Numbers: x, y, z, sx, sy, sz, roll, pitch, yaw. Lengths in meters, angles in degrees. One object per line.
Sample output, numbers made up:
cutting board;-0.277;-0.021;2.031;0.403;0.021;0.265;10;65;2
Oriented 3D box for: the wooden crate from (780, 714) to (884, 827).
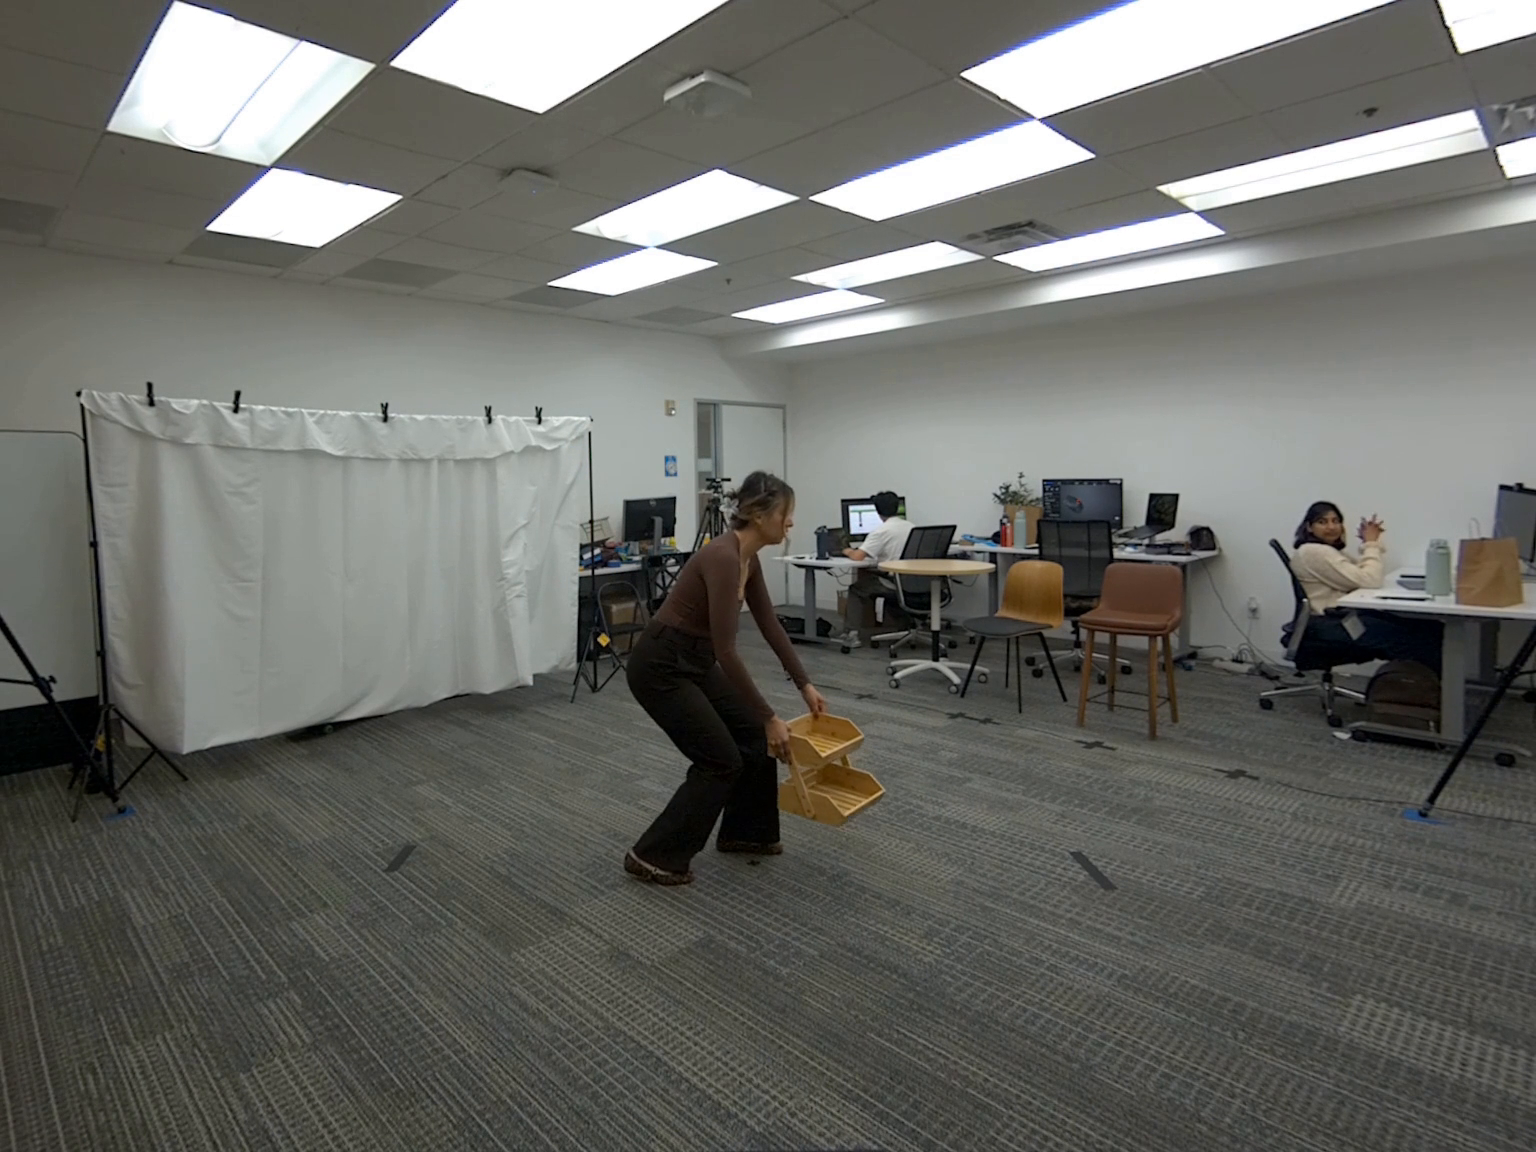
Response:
wooden crate;0.202;0.641;2.909;0.311;0.272;0.316;7;8;34
